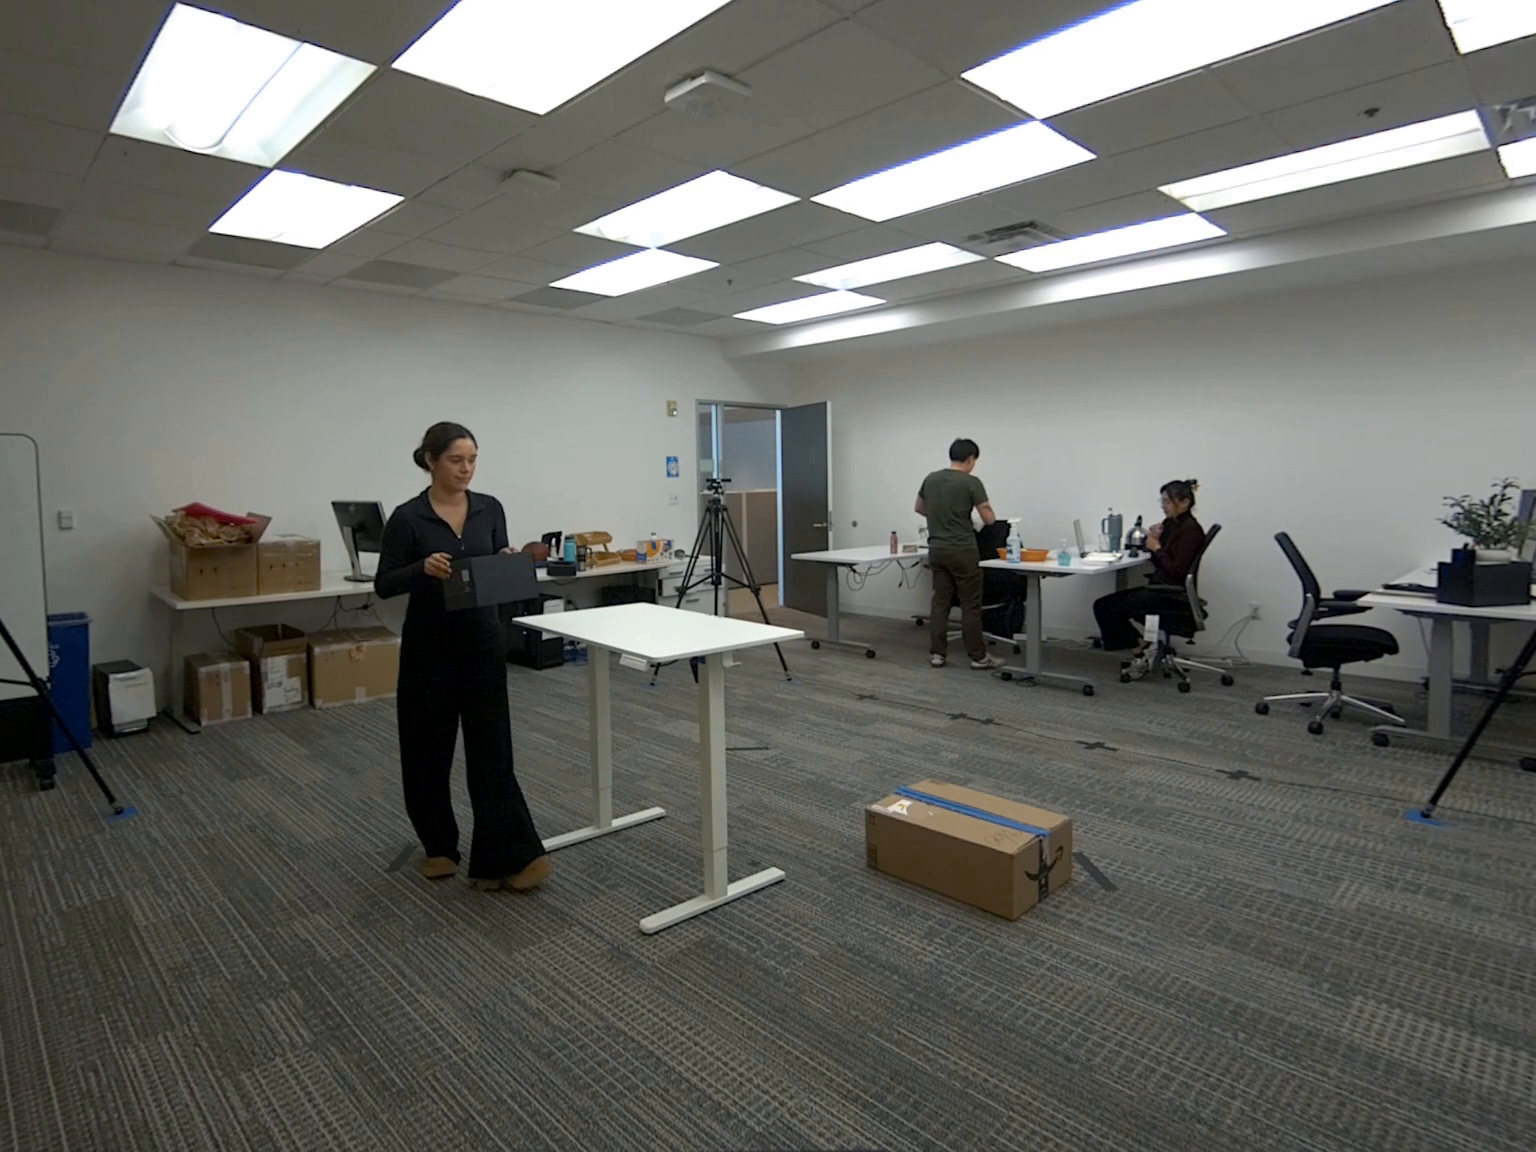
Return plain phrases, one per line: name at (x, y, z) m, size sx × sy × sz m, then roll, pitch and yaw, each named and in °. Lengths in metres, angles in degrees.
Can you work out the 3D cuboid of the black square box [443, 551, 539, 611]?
black square box at (-0.909, 0.012, 2.799) m, size 0.222 × 0.156 × 0.222 m, roll -10°, pitch 0°, yaw 45°
